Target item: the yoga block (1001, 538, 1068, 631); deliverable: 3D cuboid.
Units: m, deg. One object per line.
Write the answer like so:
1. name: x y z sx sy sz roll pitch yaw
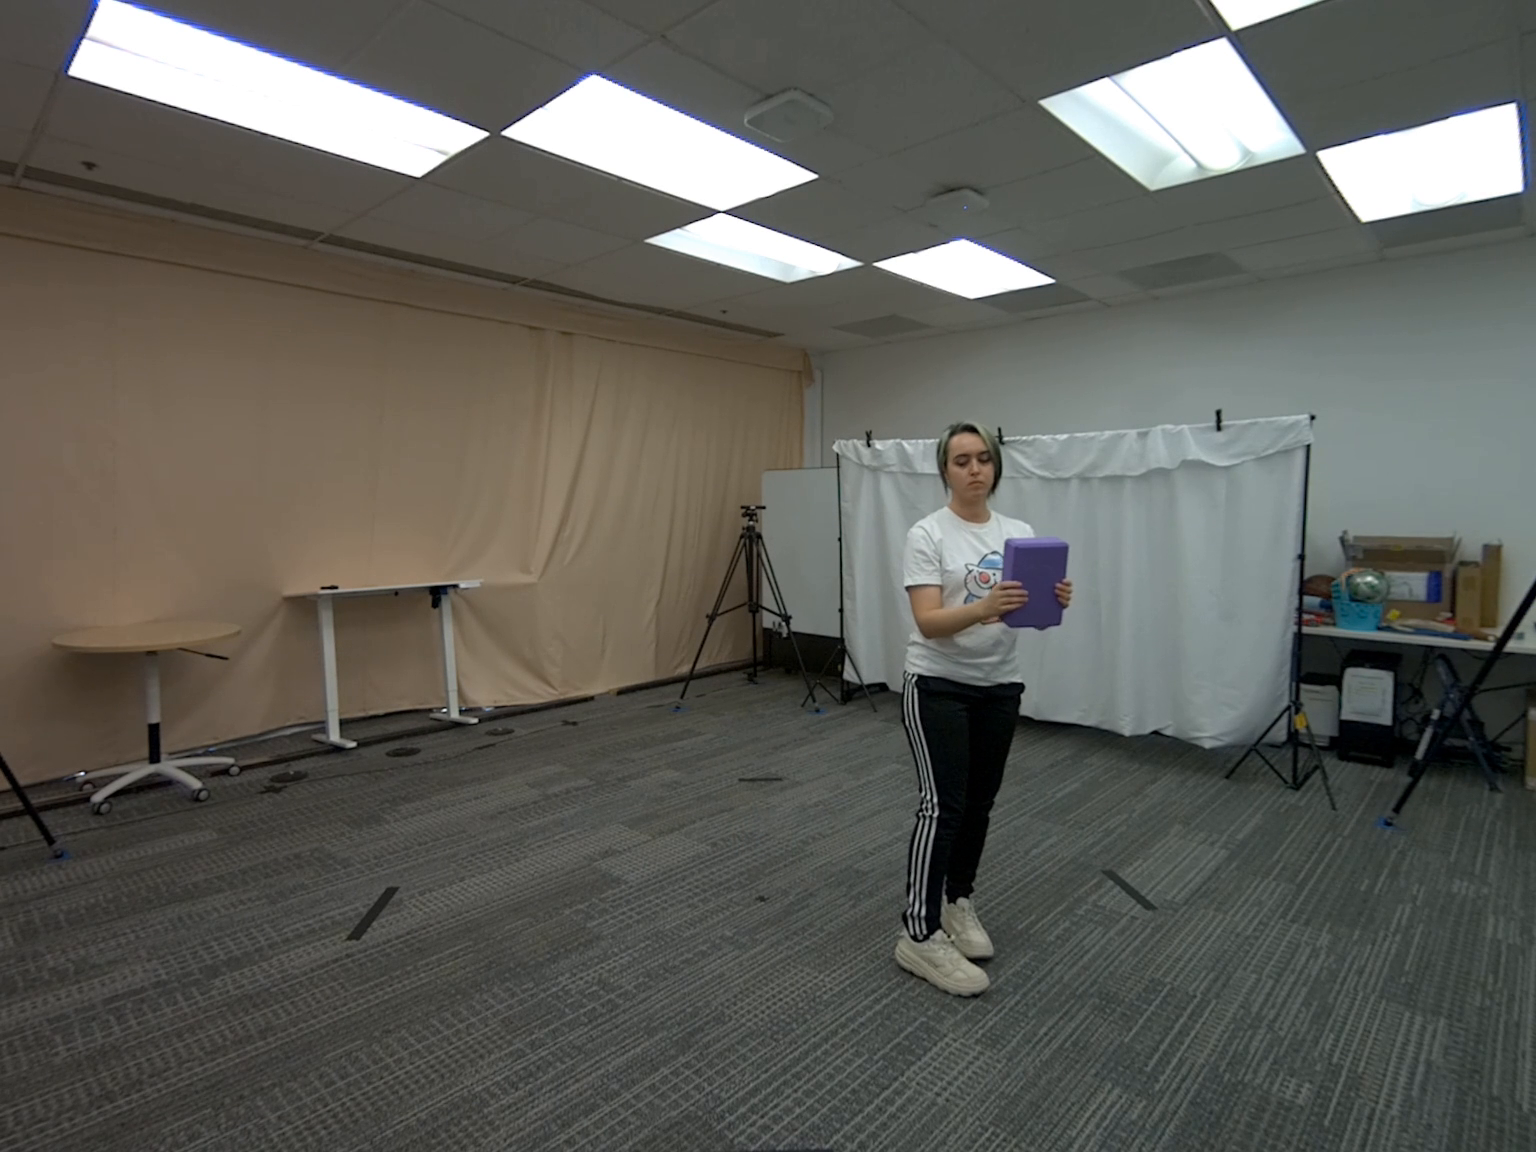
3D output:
1. yoga block: 0.694 0.017 2.226 0.148 0.227 0.077 0 15 -5
